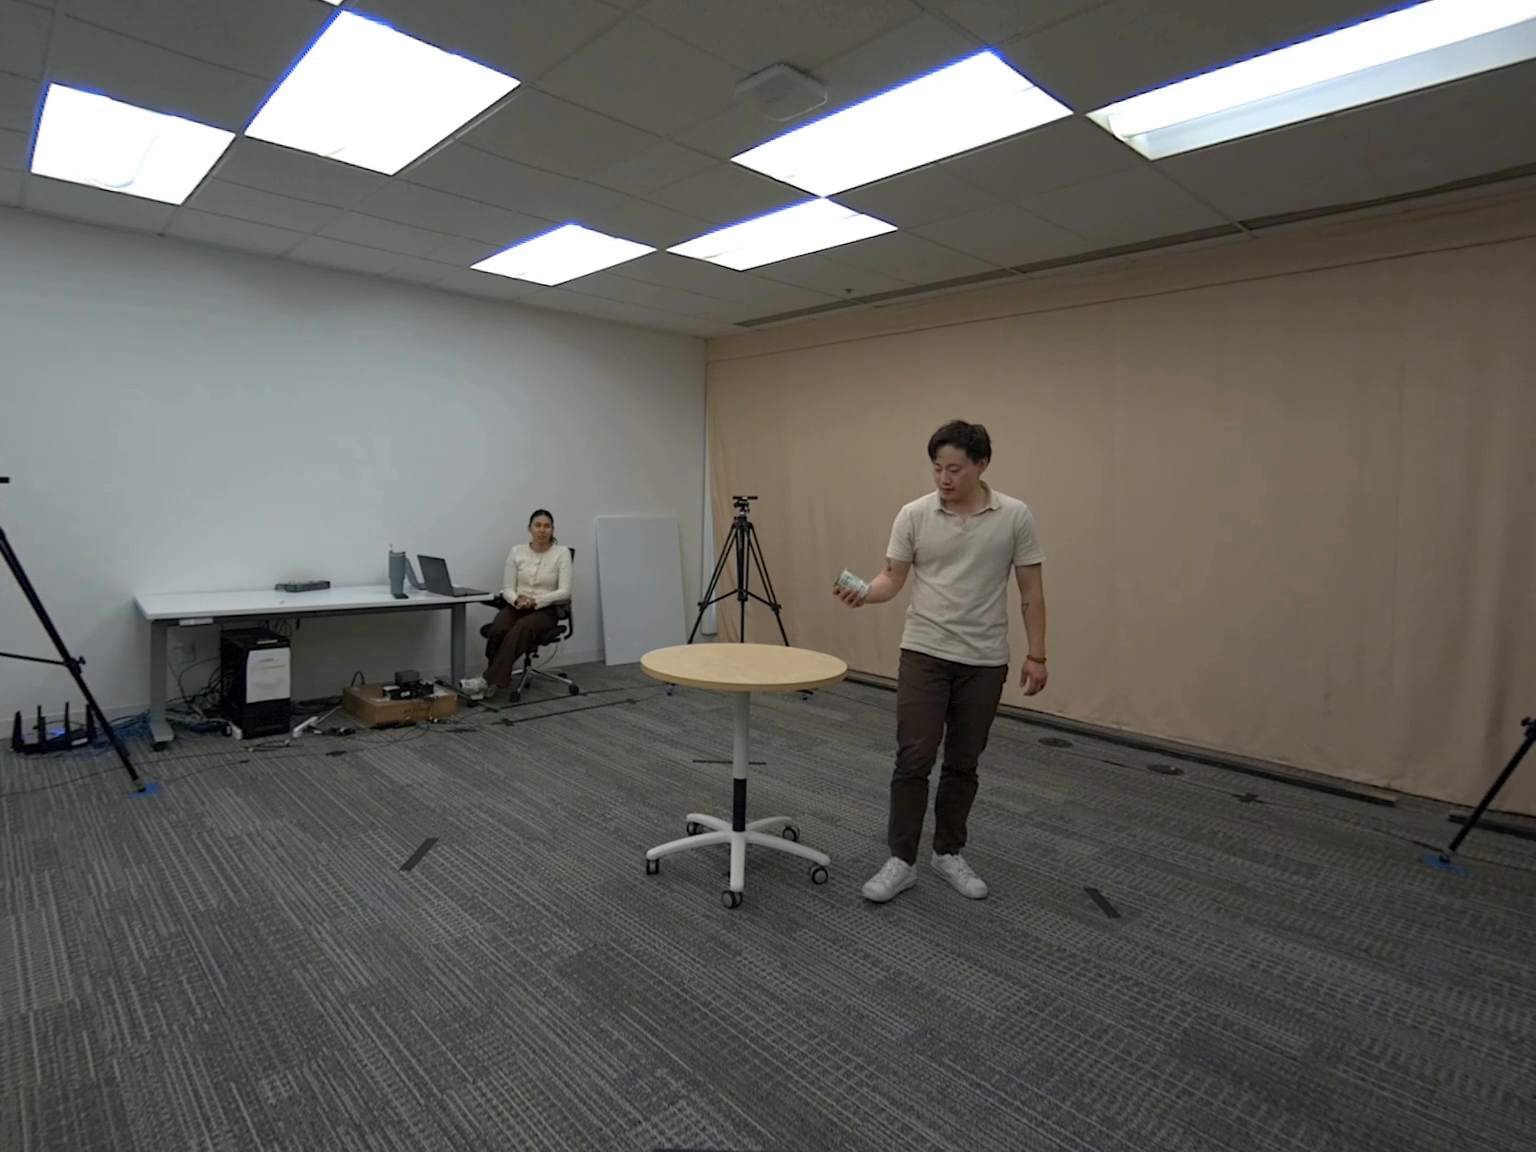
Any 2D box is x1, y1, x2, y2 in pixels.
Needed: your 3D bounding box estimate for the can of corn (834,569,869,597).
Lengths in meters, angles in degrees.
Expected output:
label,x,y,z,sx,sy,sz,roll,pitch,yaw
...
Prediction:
label,x,y,z,sx,sy,sz,roll,pitch,yaw
can of corn,0.272,0.031,2.847,0.111,0.074,0.074,32,5,0
